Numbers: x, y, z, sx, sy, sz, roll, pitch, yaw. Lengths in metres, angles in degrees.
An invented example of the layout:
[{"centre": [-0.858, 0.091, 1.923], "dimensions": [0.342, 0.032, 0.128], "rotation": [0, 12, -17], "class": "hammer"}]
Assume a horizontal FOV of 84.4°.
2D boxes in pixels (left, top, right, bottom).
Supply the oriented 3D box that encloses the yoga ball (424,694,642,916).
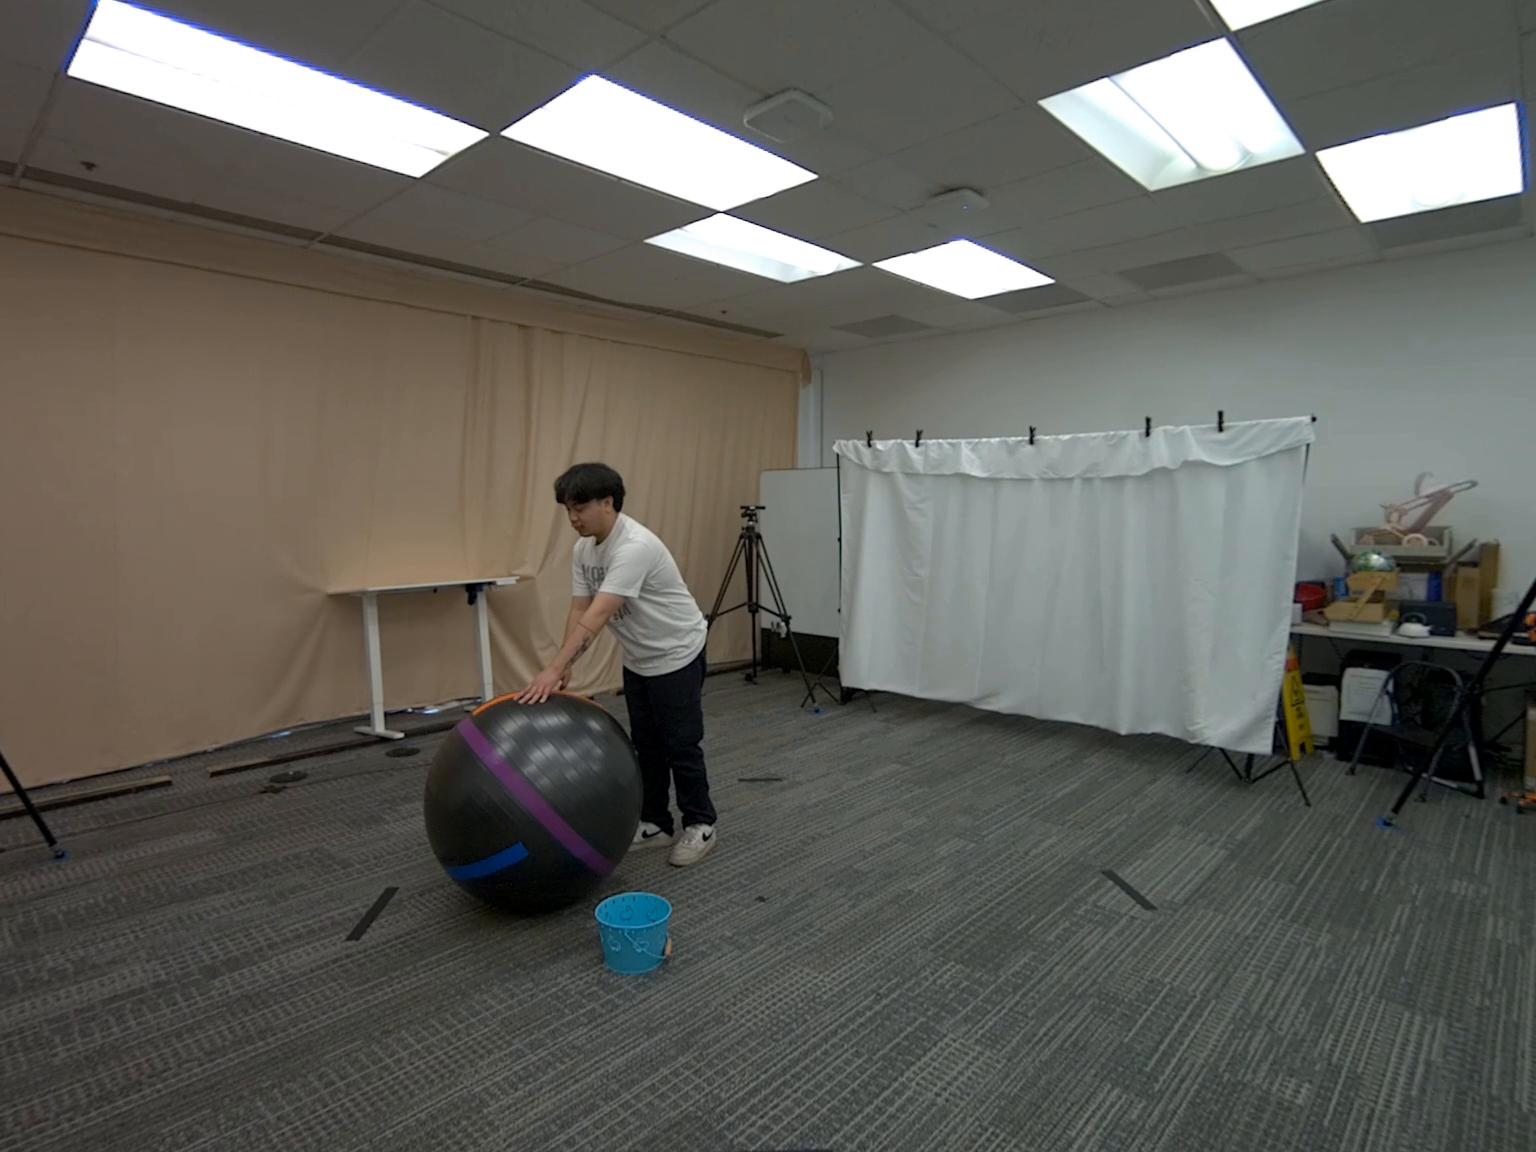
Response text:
[{"centre": [-0.848, 0.797, 3.006], "dimensions": [0.757, 0.756, 0.760], "rotation": [0, 4, -2], "class": "yoga ball"}]
